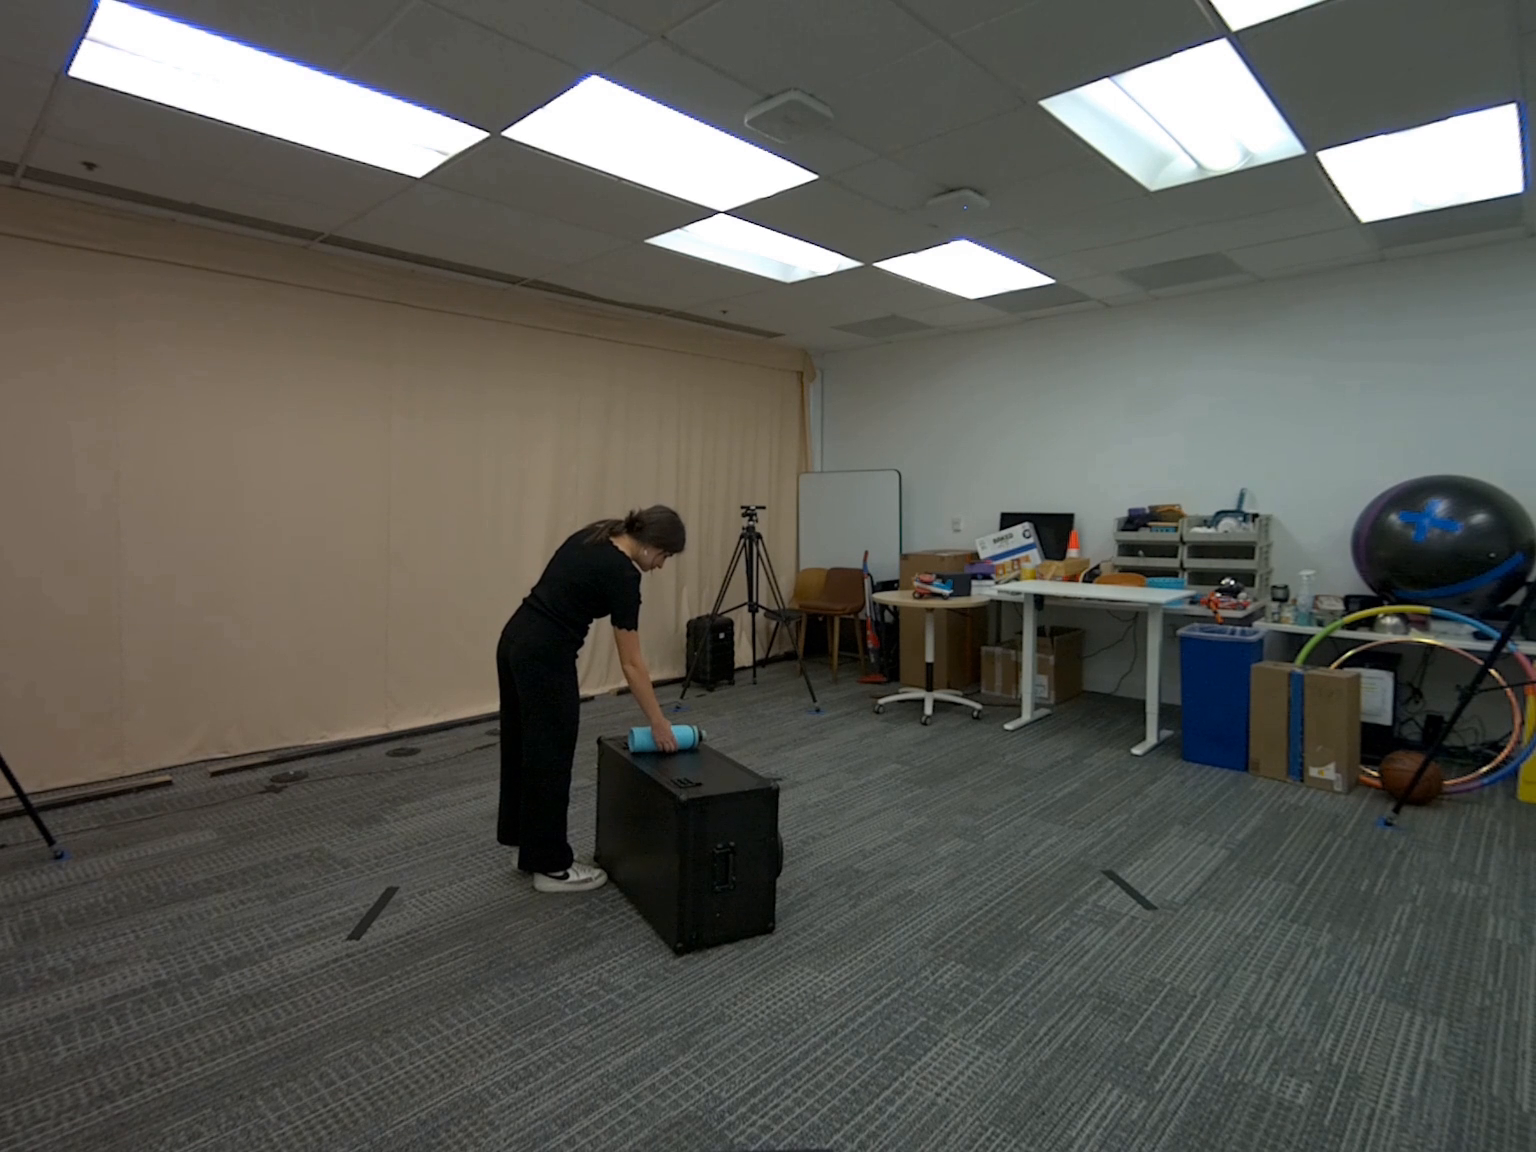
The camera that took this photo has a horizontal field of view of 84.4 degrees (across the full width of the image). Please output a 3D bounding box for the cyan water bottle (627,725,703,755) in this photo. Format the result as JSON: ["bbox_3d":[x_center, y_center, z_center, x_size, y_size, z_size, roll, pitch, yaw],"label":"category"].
[{"bbox_3d":[-0.374,0.601,3.117,0.277,0.092,0.094,2,3,-23],"label":"cyan water bottle"}]
